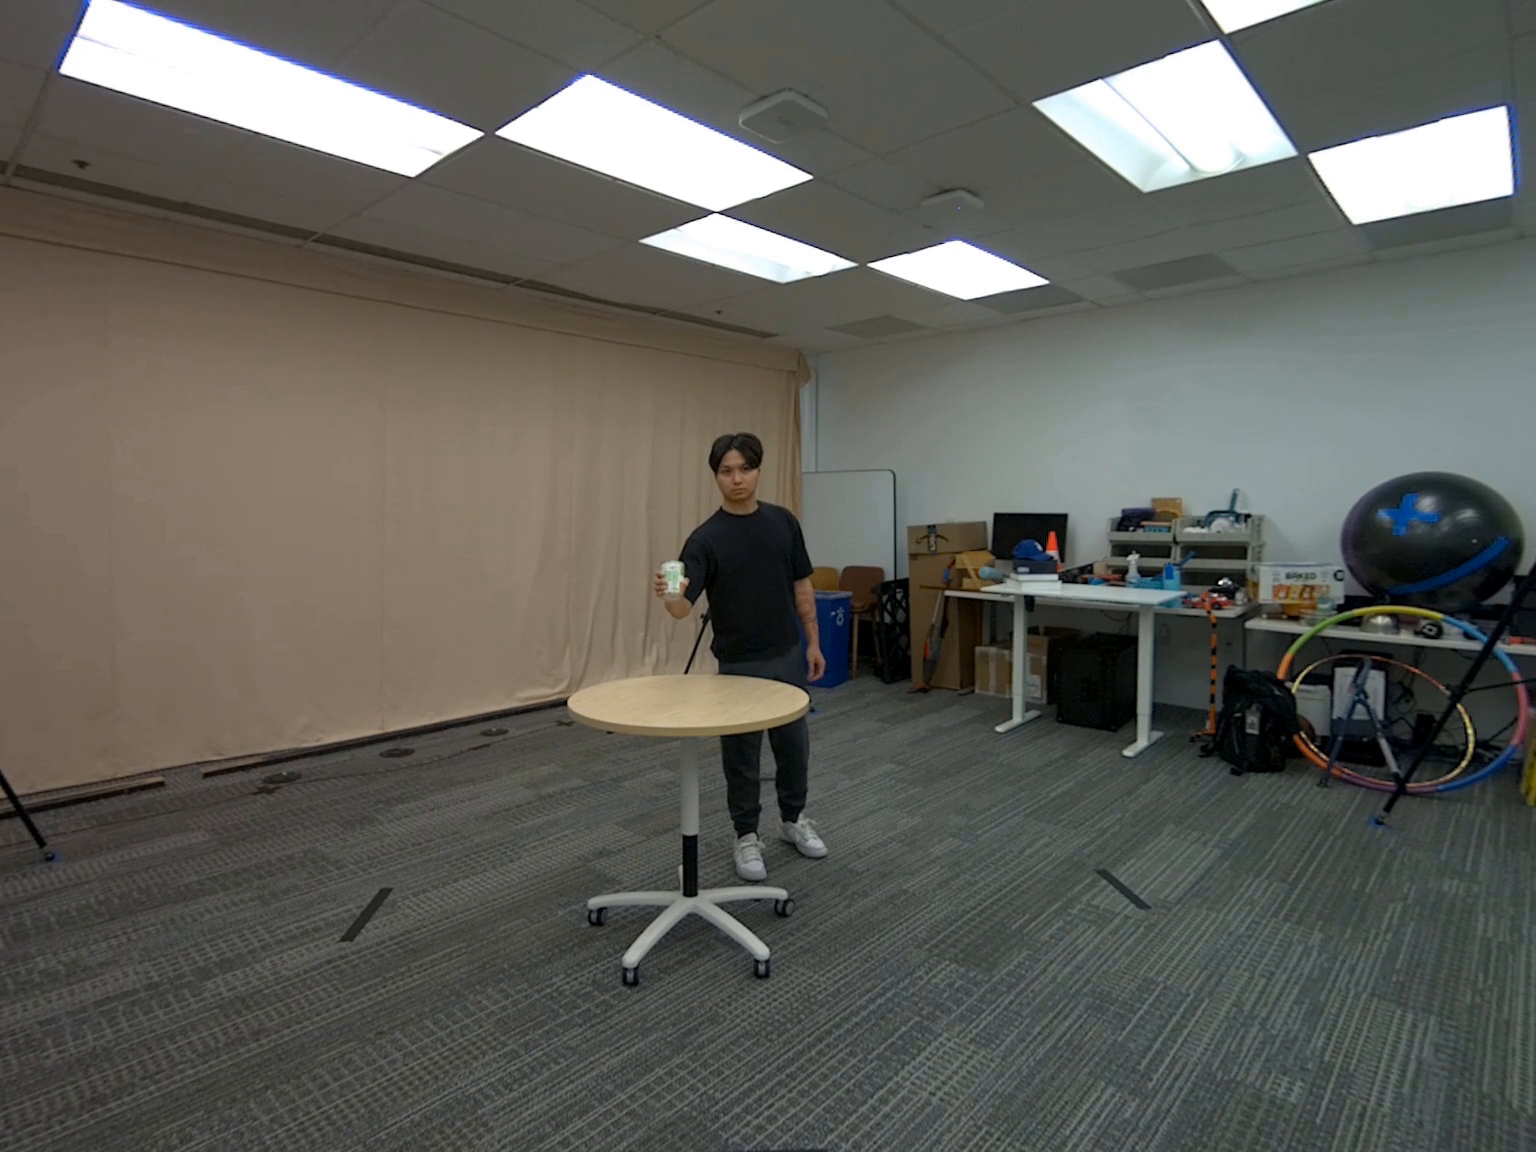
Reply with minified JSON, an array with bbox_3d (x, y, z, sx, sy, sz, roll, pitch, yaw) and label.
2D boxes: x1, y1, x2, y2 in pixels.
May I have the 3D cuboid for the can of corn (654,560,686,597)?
[{"bbox_3d":[-0.303,0.010,2.688,0.074,0.112,0.073,4,-14,-1],"label":"can of corn"}]
